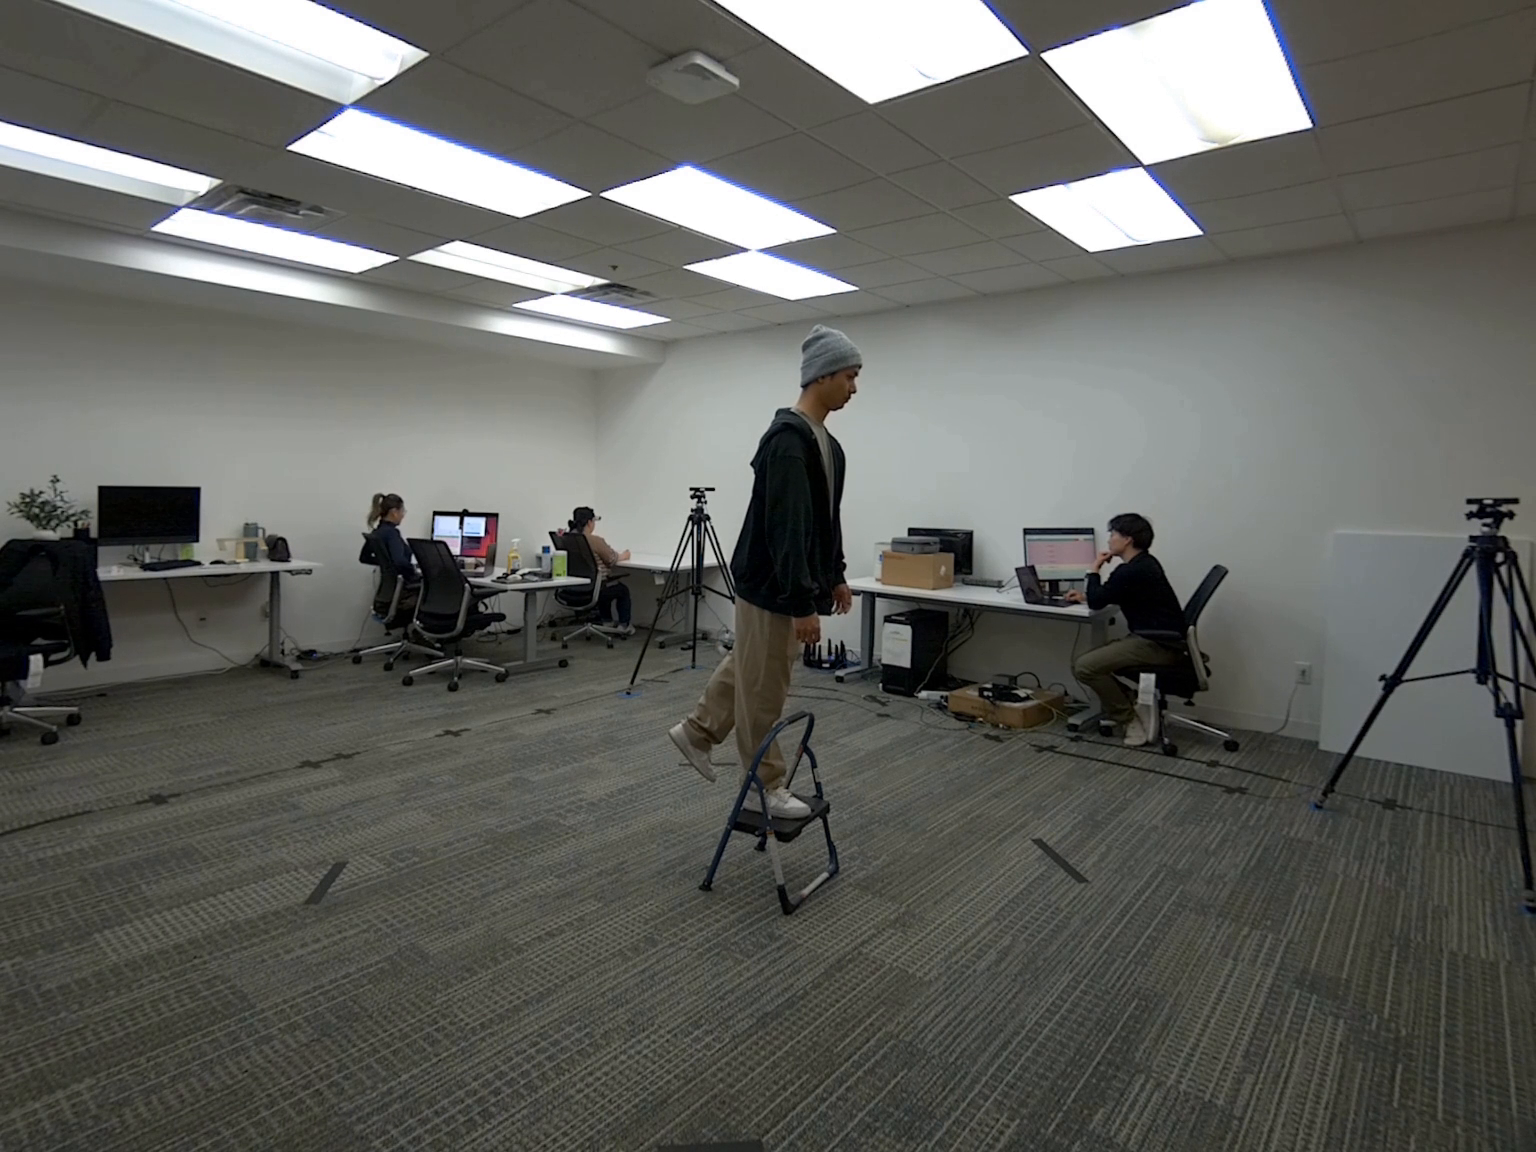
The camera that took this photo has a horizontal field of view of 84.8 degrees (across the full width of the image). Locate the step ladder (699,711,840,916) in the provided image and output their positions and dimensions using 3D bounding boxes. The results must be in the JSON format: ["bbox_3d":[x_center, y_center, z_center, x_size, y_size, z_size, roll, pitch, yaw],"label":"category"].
[{"bbox_3d":[0.016,0.778,3.018,0.359,0.604,0.420,4,4,29],"label":"step ladder"}]
